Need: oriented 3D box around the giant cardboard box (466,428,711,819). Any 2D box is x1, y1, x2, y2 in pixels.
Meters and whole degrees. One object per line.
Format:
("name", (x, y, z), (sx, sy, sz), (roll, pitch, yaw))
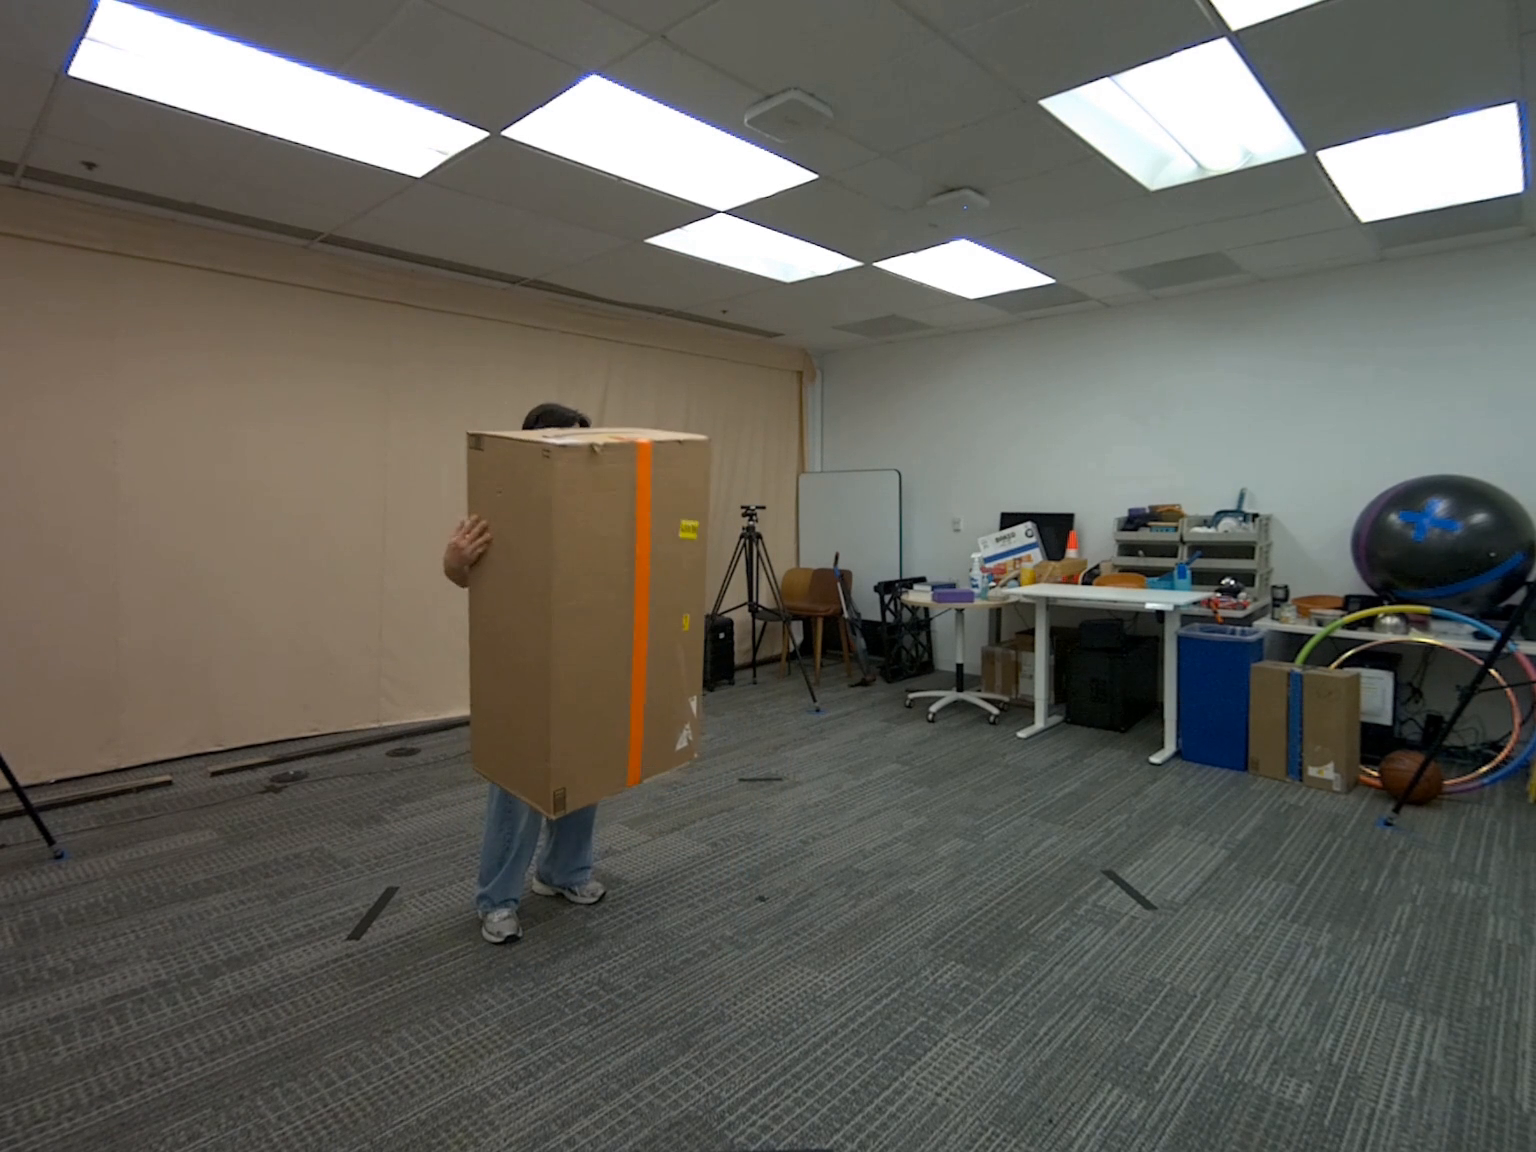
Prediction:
("giant cardboard box", (-0.533, 0.104, 2.526), (0.441, 1.019, 0.561), (12, 15, 39))
